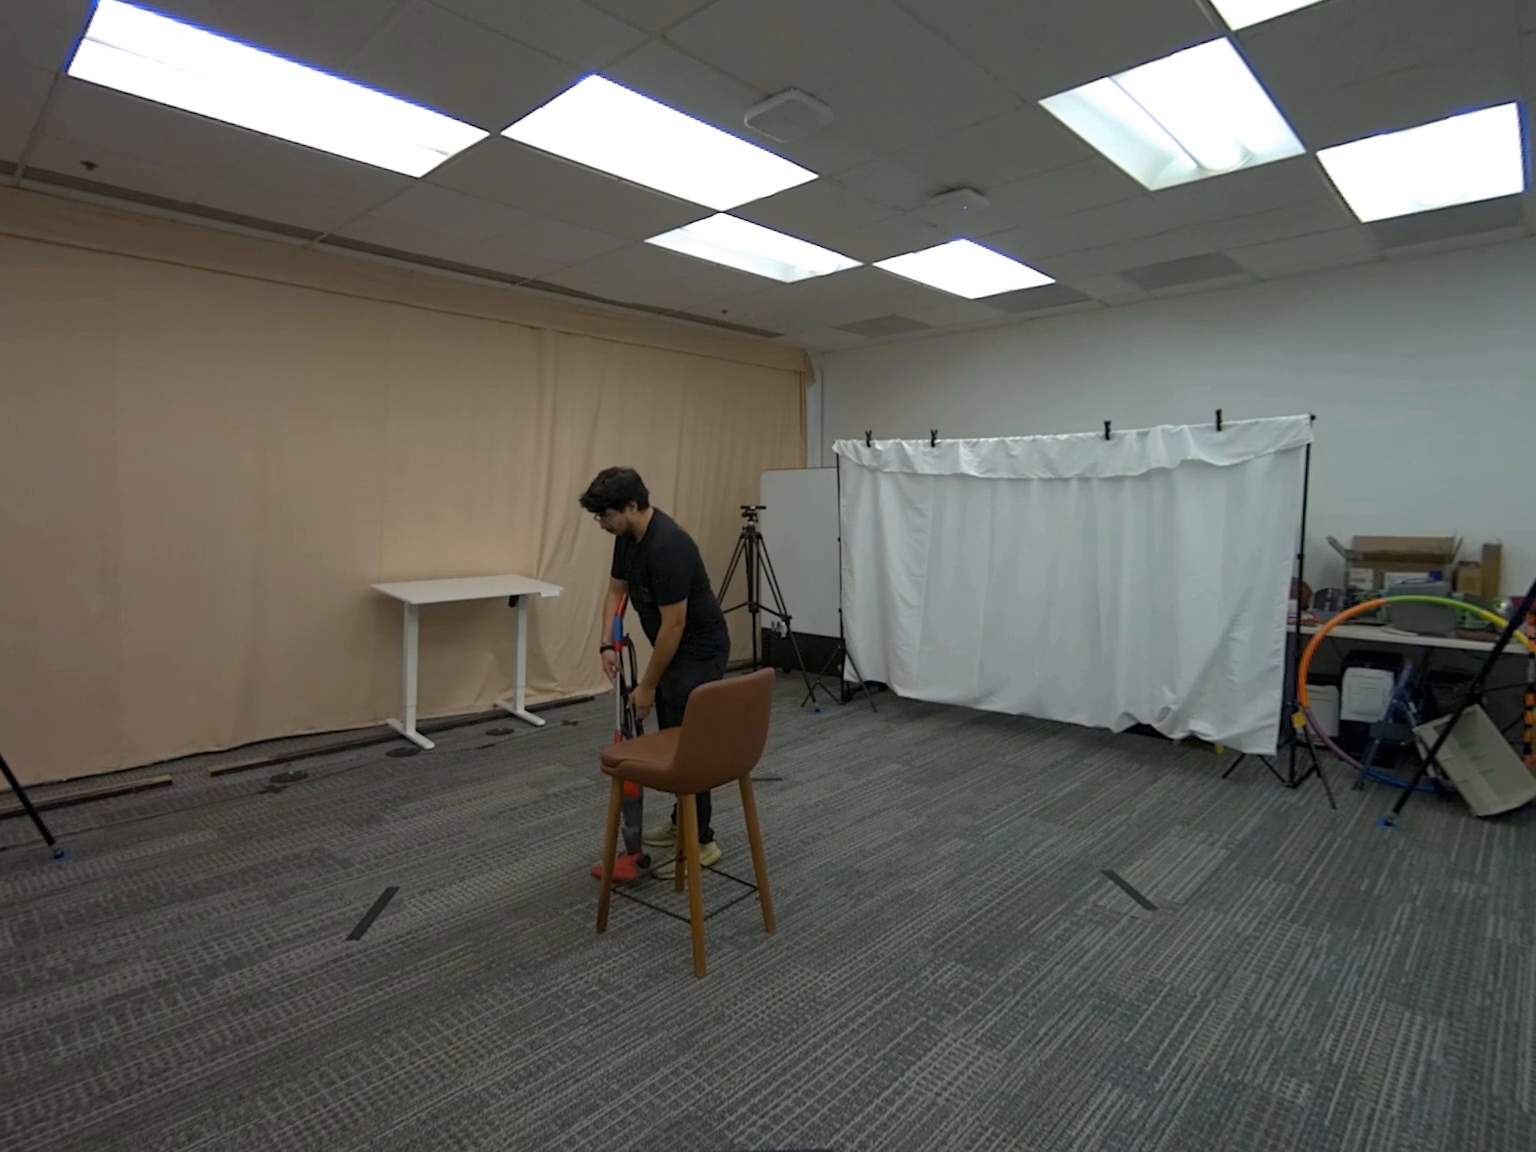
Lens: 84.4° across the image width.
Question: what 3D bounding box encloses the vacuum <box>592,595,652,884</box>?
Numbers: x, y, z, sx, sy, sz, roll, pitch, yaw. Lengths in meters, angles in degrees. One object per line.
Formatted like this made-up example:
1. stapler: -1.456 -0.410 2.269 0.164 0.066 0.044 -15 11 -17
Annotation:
1. vacuum: -0.550 0.613 3.262 0.260 1.057 0.139 -11 -14 42
